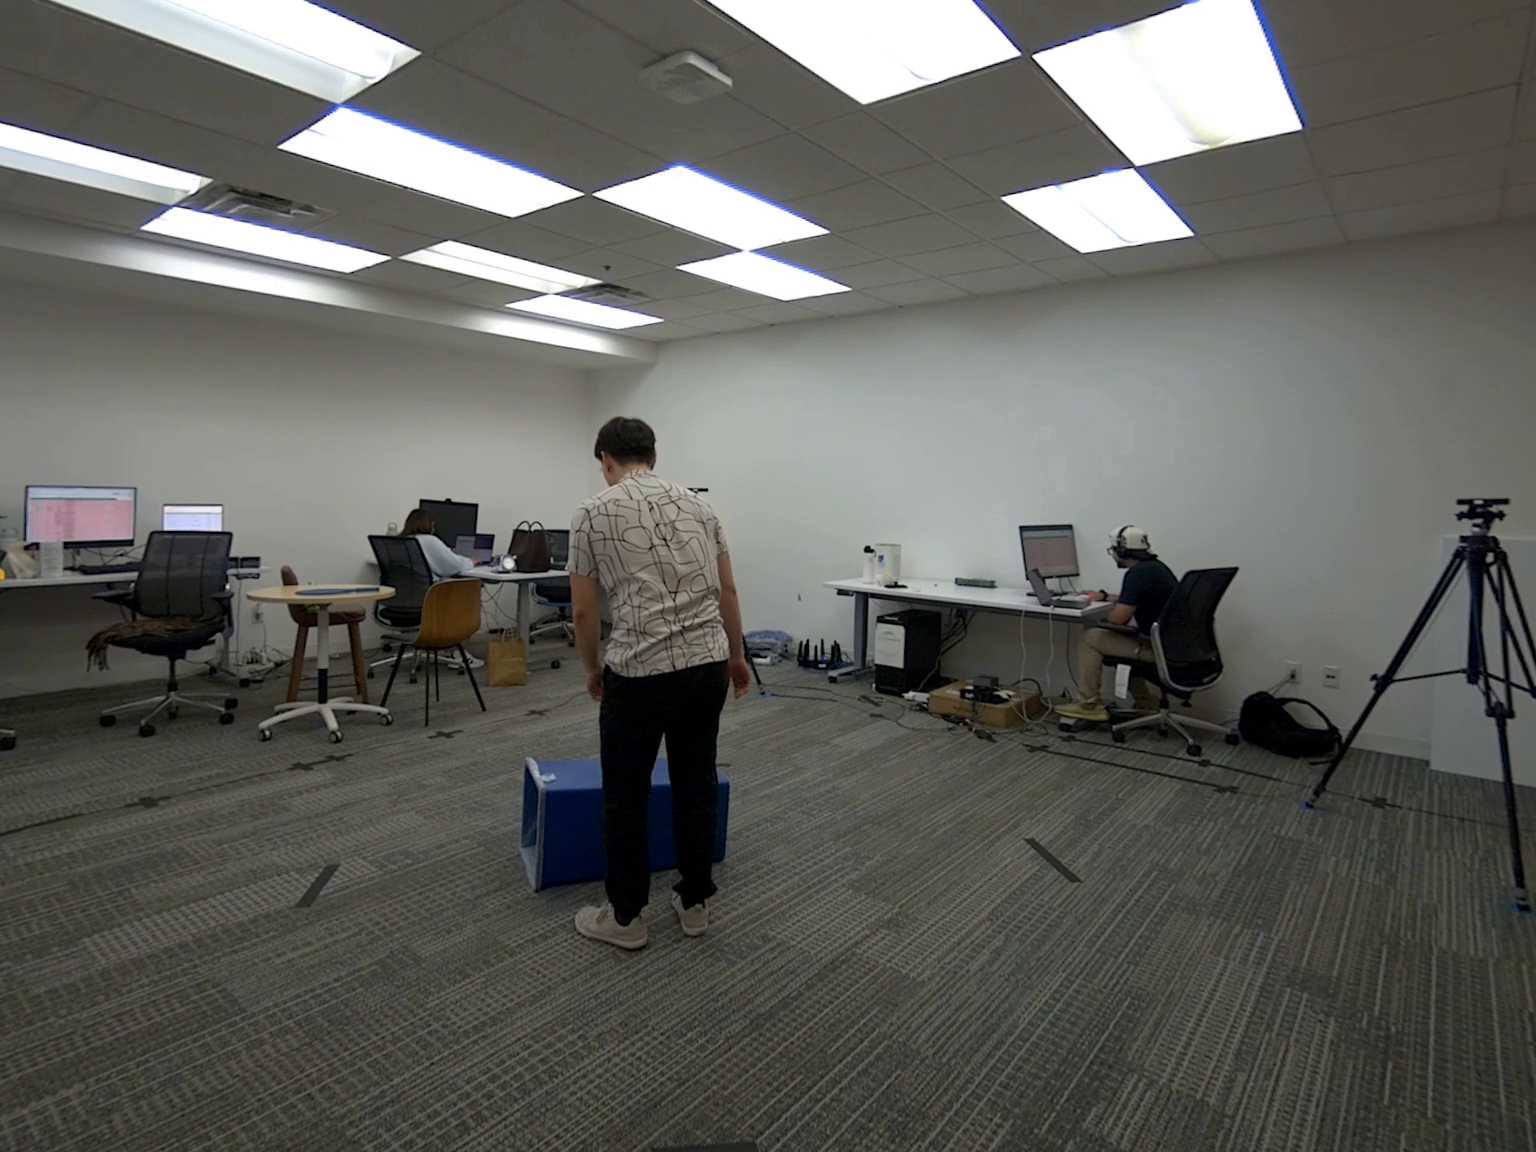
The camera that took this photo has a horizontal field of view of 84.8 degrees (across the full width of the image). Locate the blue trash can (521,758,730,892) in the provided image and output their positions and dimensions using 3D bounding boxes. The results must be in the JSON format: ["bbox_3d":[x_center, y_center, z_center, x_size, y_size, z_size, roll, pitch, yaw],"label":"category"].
[{"bbox_3d":[-0.544,0.889,3.173,0.698,0.373,0.387,3,4,-21],"label":"blue trash can"}]
